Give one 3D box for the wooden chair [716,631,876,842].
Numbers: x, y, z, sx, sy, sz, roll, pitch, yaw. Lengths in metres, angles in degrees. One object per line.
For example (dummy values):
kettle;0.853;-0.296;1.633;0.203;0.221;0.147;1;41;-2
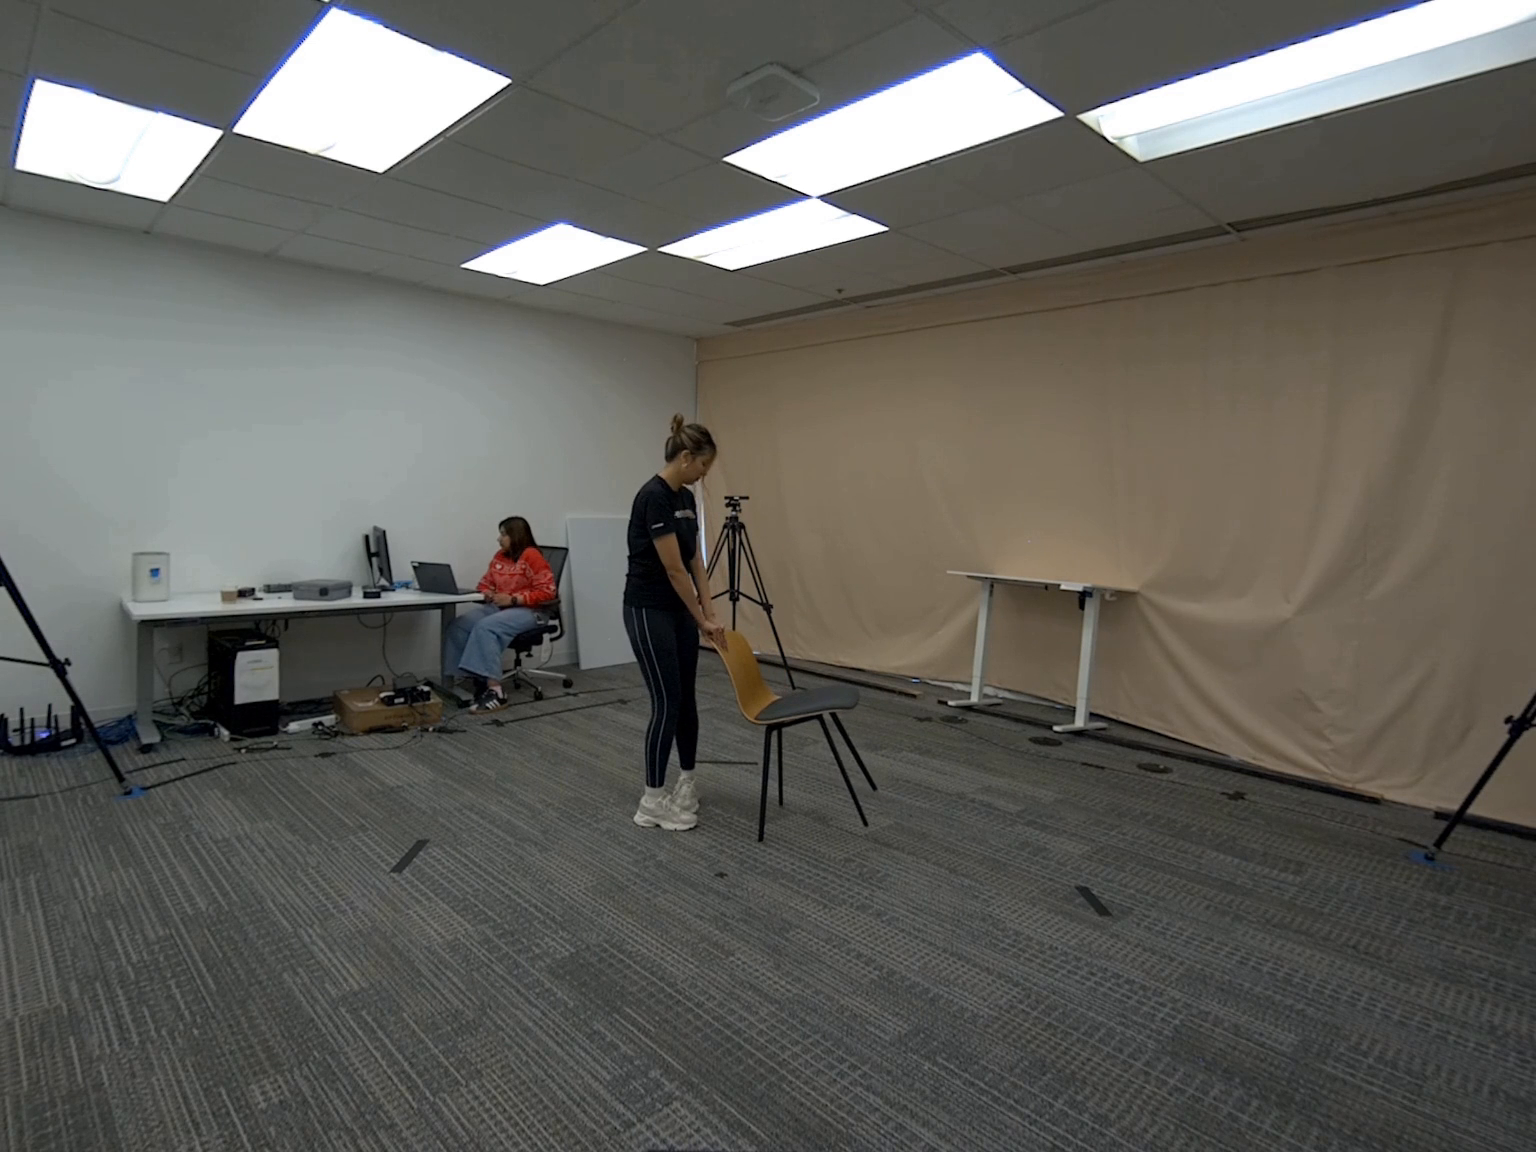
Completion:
wooden chair;0.123;0.597;3.569;0.527;0.879;0.473;-17;-2;14
